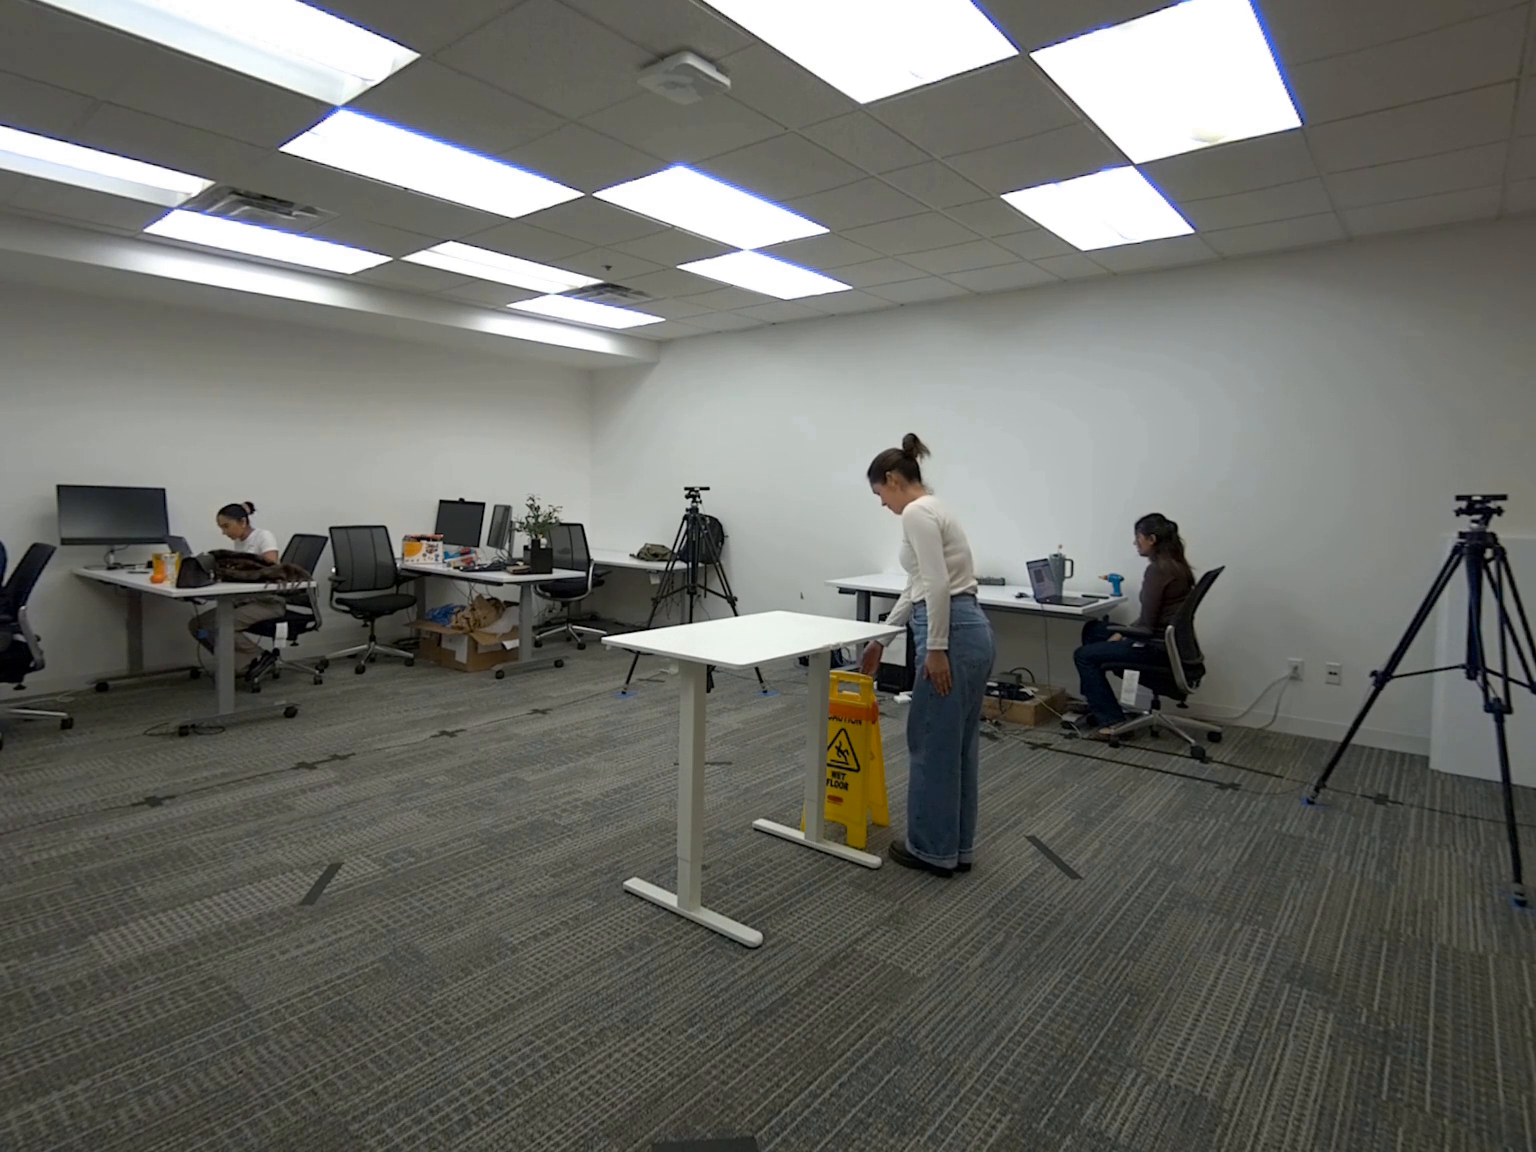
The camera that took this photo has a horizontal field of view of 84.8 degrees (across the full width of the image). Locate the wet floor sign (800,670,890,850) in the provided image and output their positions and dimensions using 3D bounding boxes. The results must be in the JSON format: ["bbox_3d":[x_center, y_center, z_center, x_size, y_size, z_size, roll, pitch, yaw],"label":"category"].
[{"bbox_3d":[0.321,0.715,3.478,0.291,0.644,0.282,4,4,30],"label":"wet floor sign"}]
